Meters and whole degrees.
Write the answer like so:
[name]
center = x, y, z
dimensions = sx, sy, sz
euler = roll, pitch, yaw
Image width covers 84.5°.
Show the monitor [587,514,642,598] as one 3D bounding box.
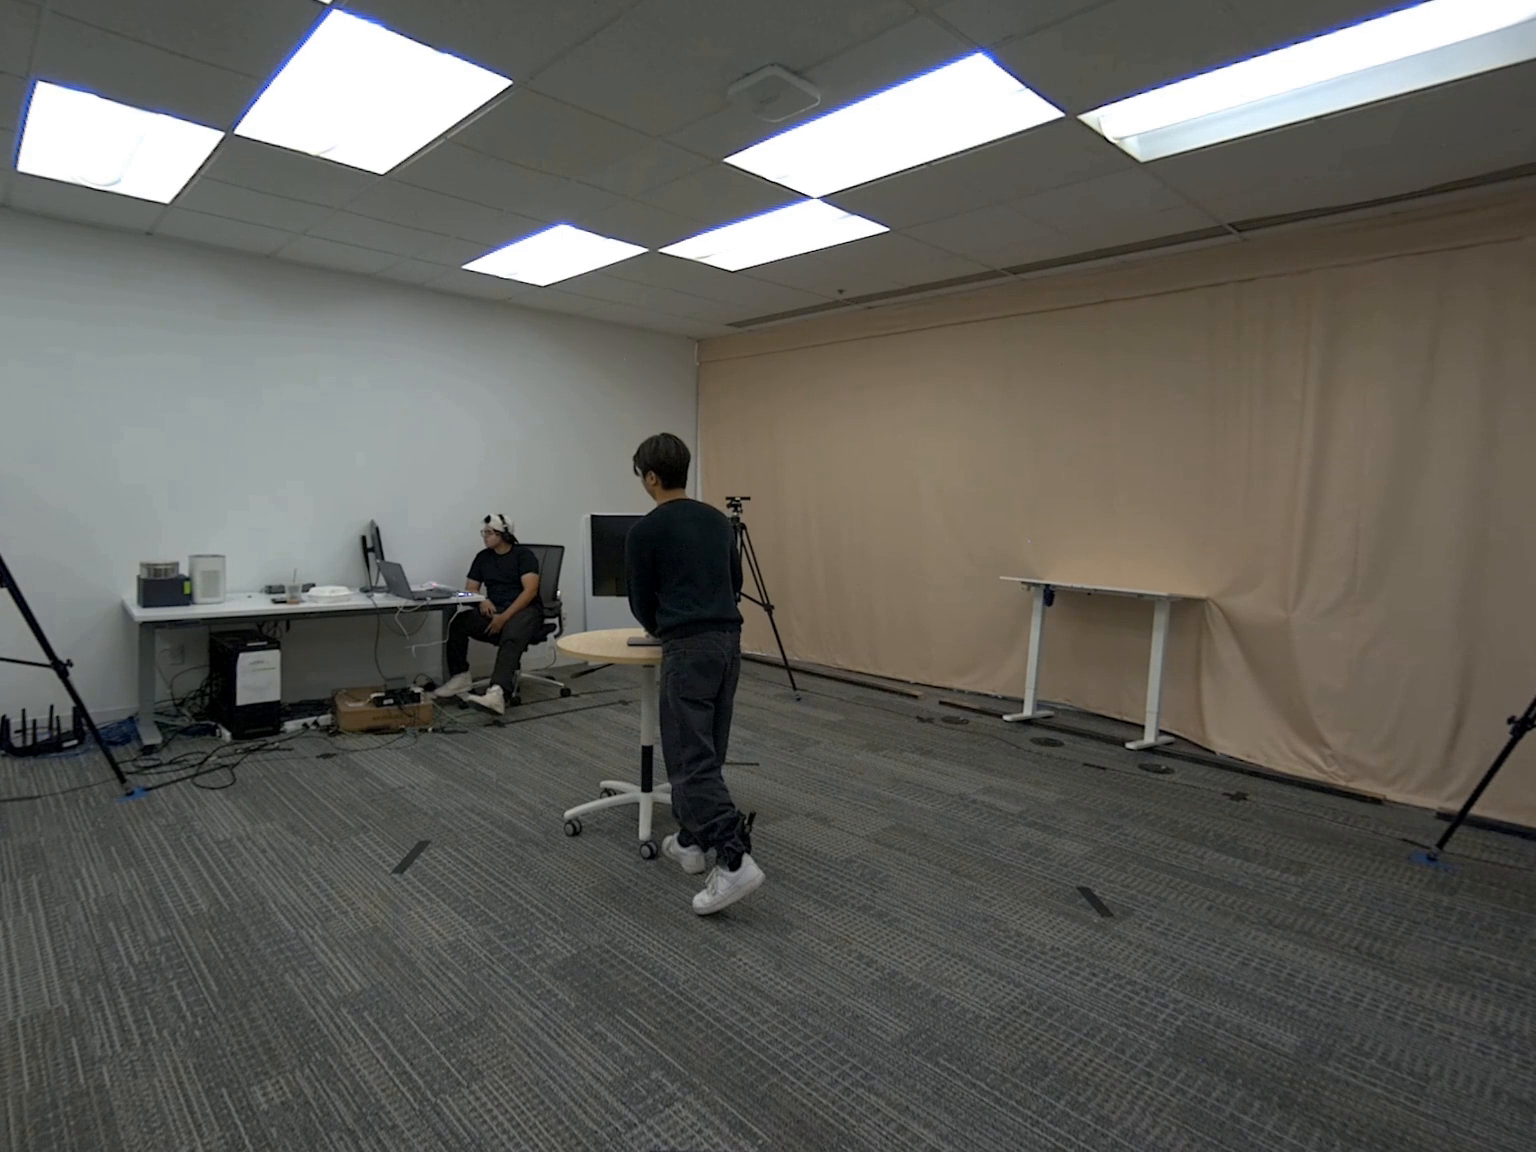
[monitor]
center = -0.460, 0.015, 3.513
dimensions = 0.527, 0.516, 0.175
euler = 0, -1, -6
